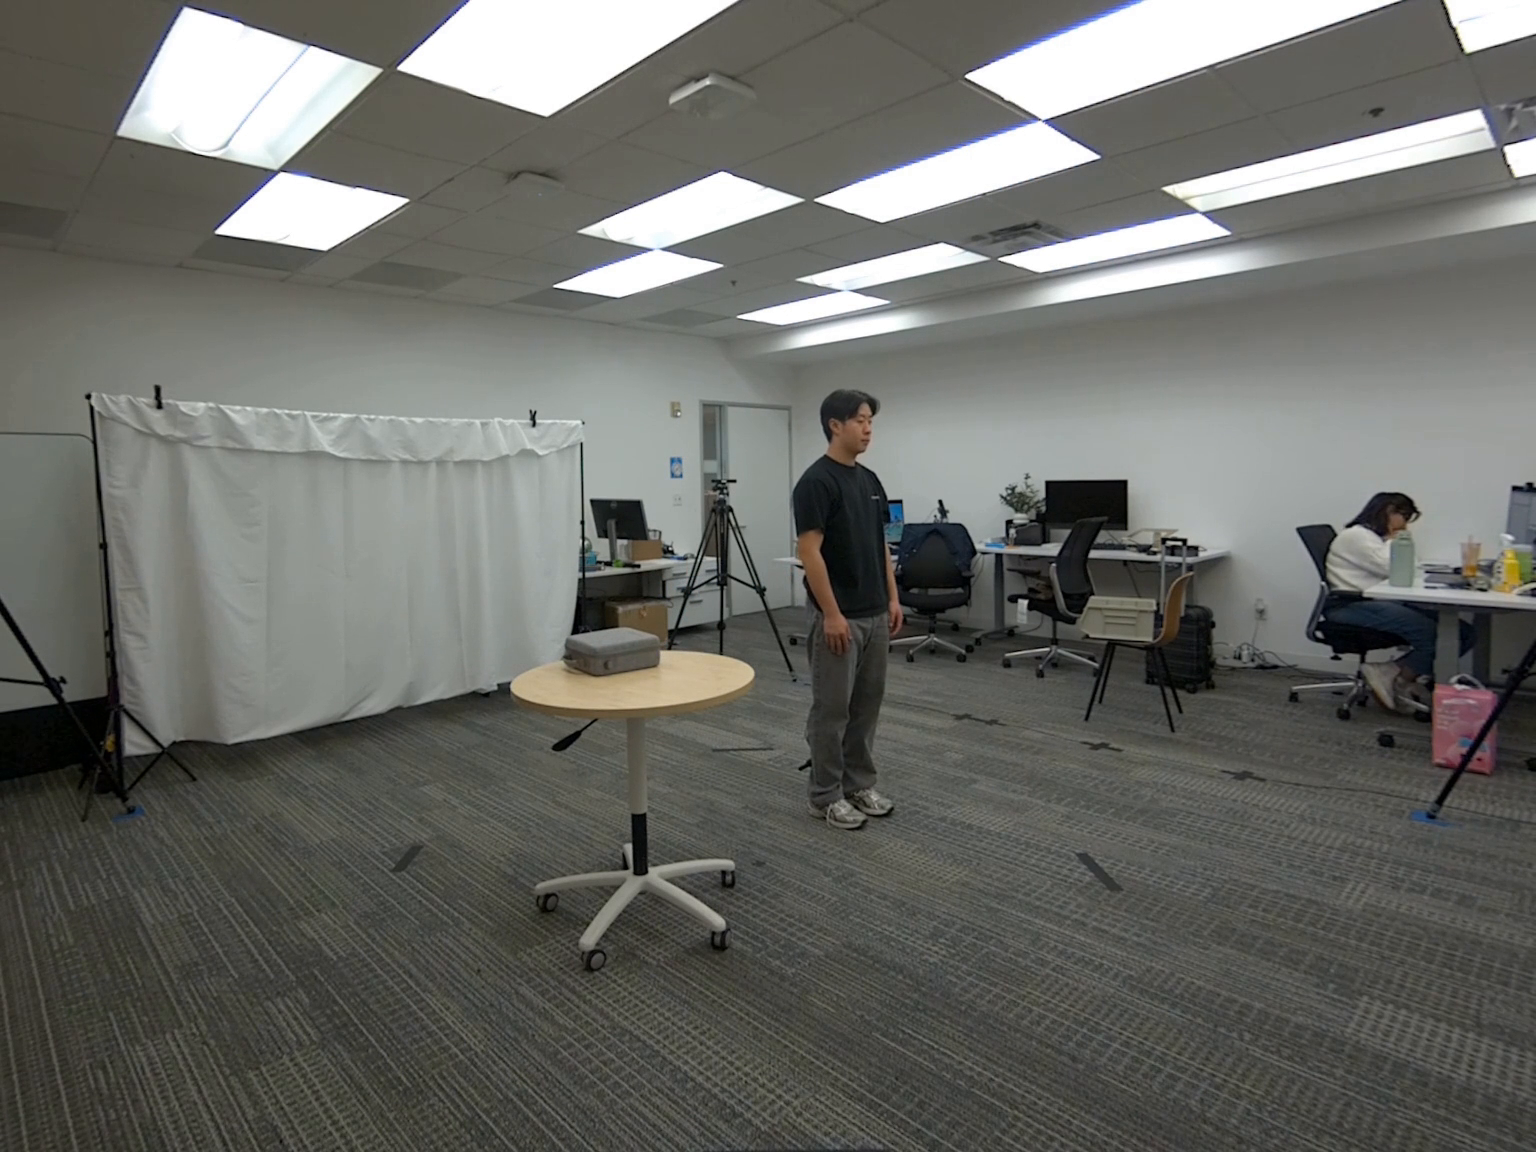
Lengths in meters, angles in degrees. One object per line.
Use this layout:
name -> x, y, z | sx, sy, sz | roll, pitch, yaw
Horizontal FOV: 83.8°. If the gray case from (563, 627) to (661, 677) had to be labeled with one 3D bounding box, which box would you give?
gray case -> -0.533, 0.252, 2.856 | 0.280, 0.102, 0.271 | -7, 9, -34
